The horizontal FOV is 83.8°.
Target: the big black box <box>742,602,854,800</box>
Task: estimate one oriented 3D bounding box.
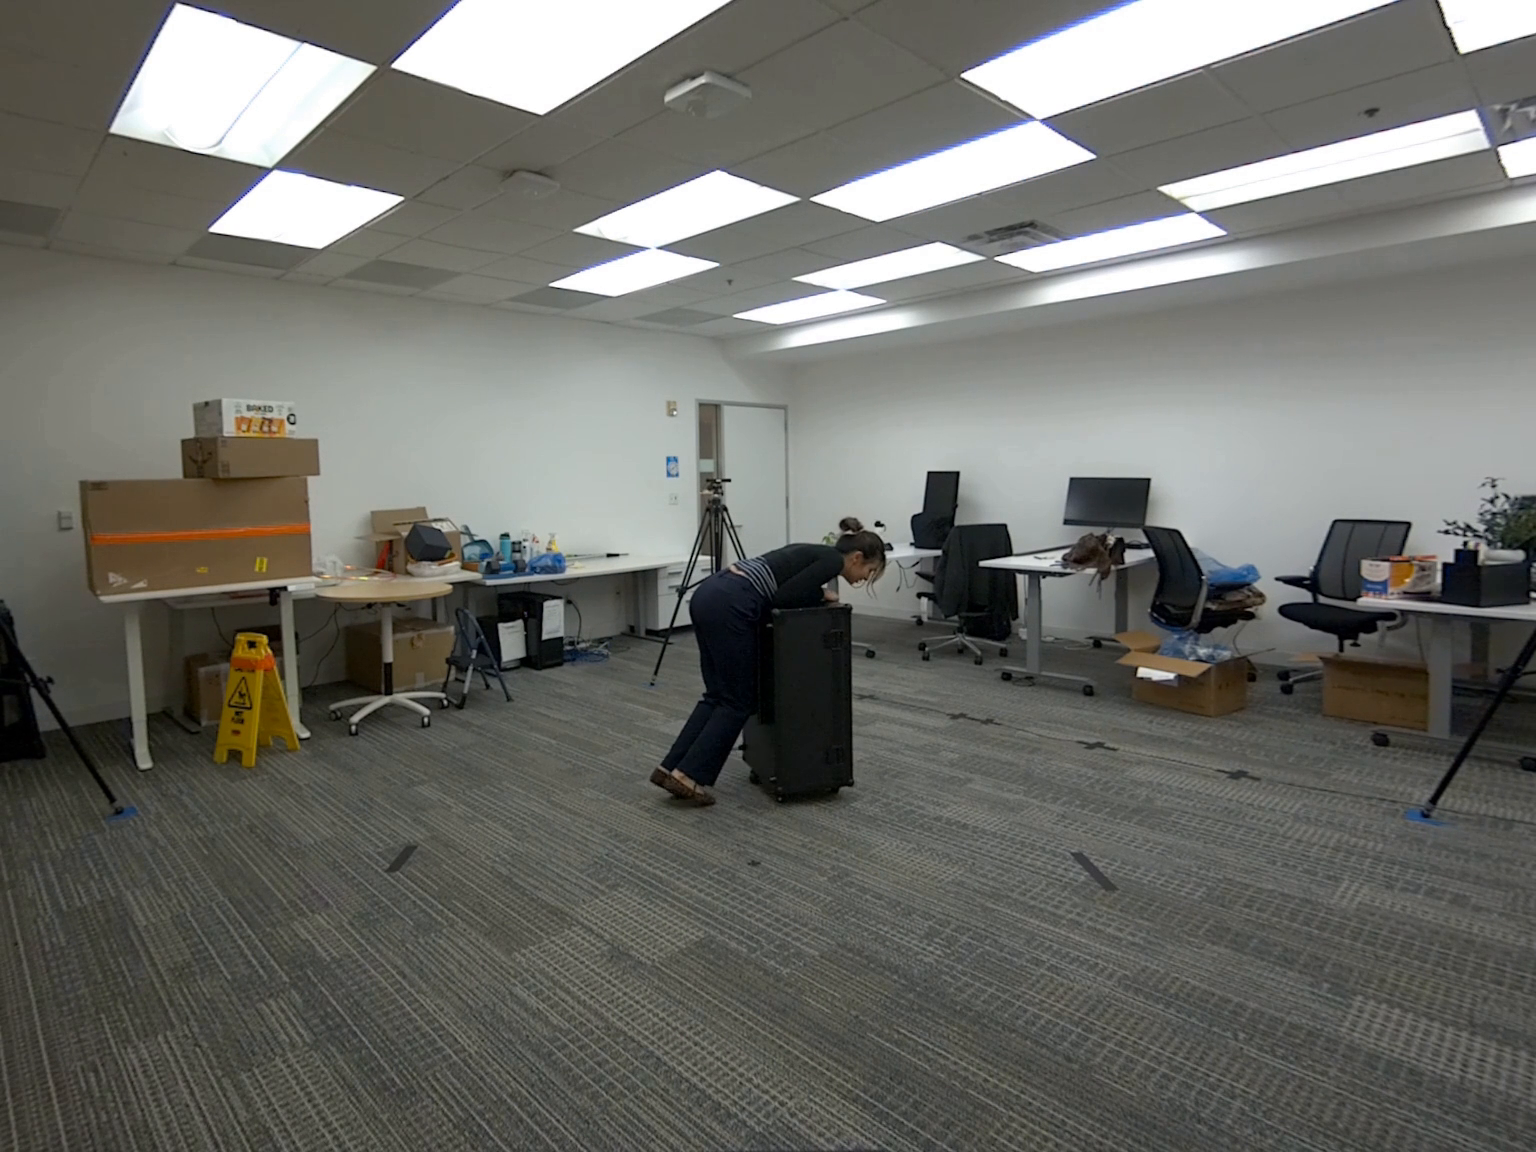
[{"bbox_3d":[0.105,0.534,3.828,0.390,0.858,0.532,-3,5,-18],"label":"big black box"}]
